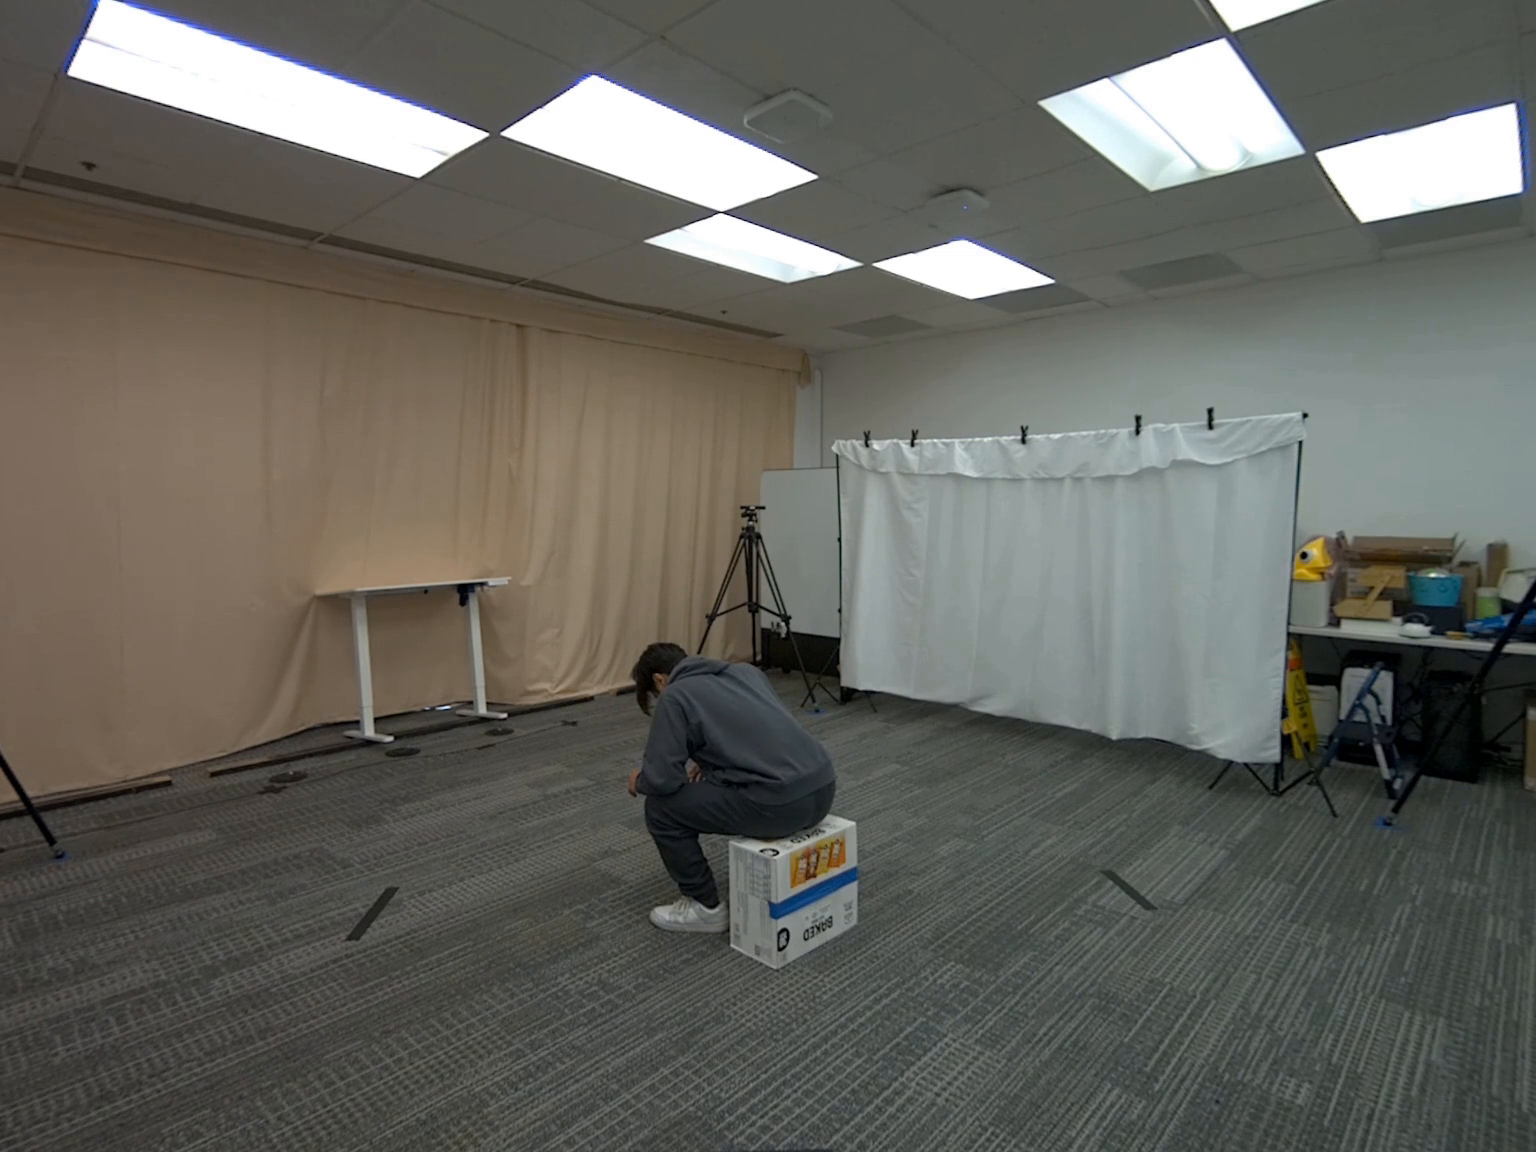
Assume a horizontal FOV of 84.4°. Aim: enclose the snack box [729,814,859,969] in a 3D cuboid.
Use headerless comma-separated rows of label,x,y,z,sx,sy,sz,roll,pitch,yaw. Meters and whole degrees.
snack box,0.091,0.995,2.726,0.212,0.340,0.393,1,3,44
